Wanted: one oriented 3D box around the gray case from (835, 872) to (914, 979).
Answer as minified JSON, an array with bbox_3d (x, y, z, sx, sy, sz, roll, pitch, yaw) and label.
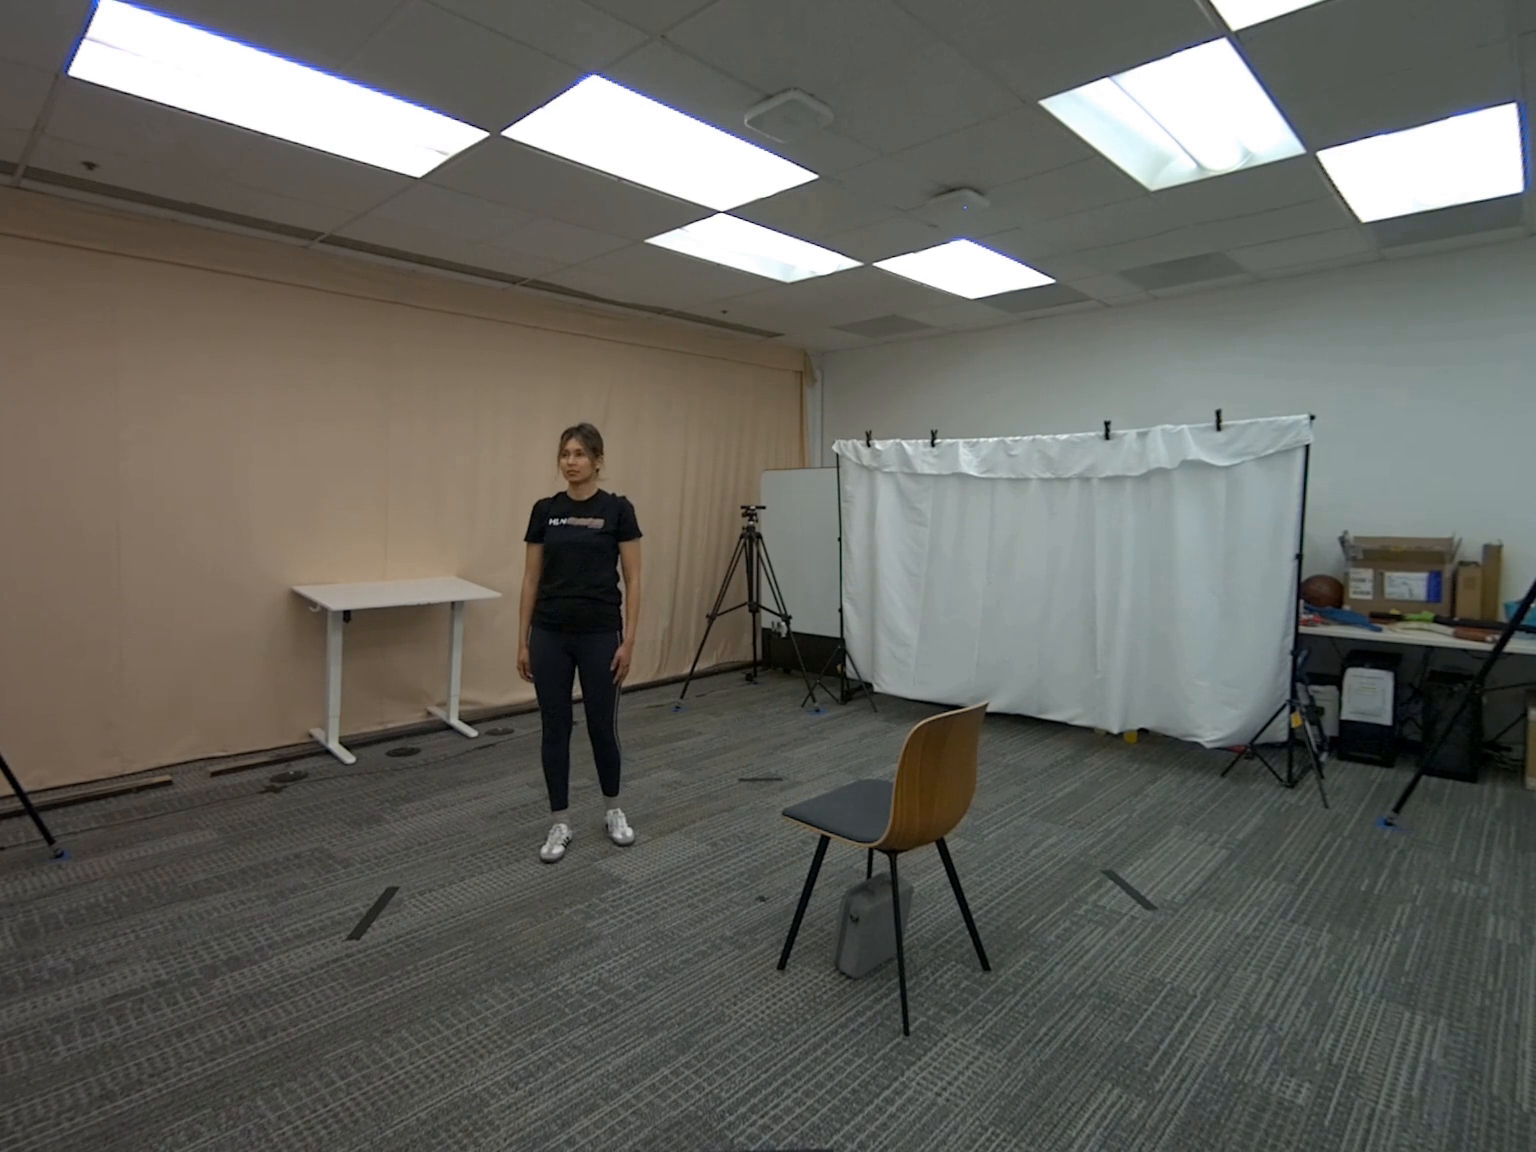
[{"bbox_3d":[0.325,1.052,2.549,0.249,0.259,0.108,-3,15,-41],"label":"gray case"}]
